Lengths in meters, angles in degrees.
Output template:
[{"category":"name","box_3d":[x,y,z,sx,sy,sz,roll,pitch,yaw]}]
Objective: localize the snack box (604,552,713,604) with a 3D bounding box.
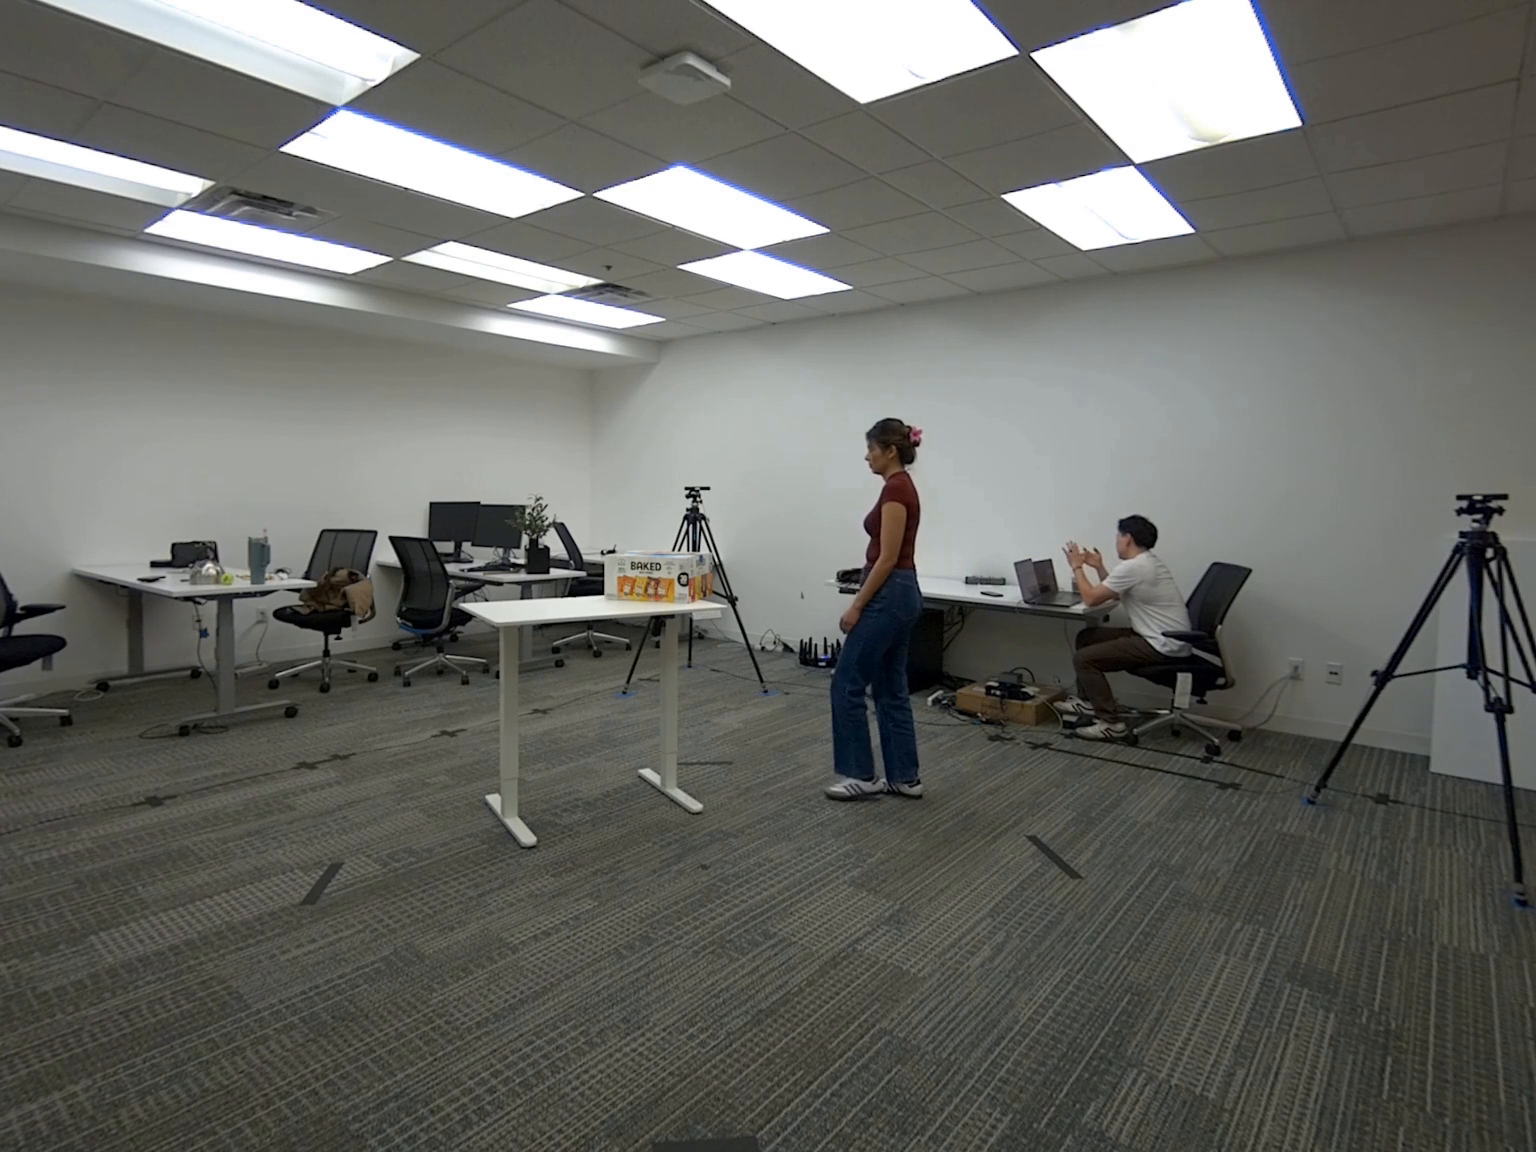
[{"category":"snack box","box_3d":[-0.518,-0.005,3.961,0.412,0.205,0.335,2,5,16]}]
